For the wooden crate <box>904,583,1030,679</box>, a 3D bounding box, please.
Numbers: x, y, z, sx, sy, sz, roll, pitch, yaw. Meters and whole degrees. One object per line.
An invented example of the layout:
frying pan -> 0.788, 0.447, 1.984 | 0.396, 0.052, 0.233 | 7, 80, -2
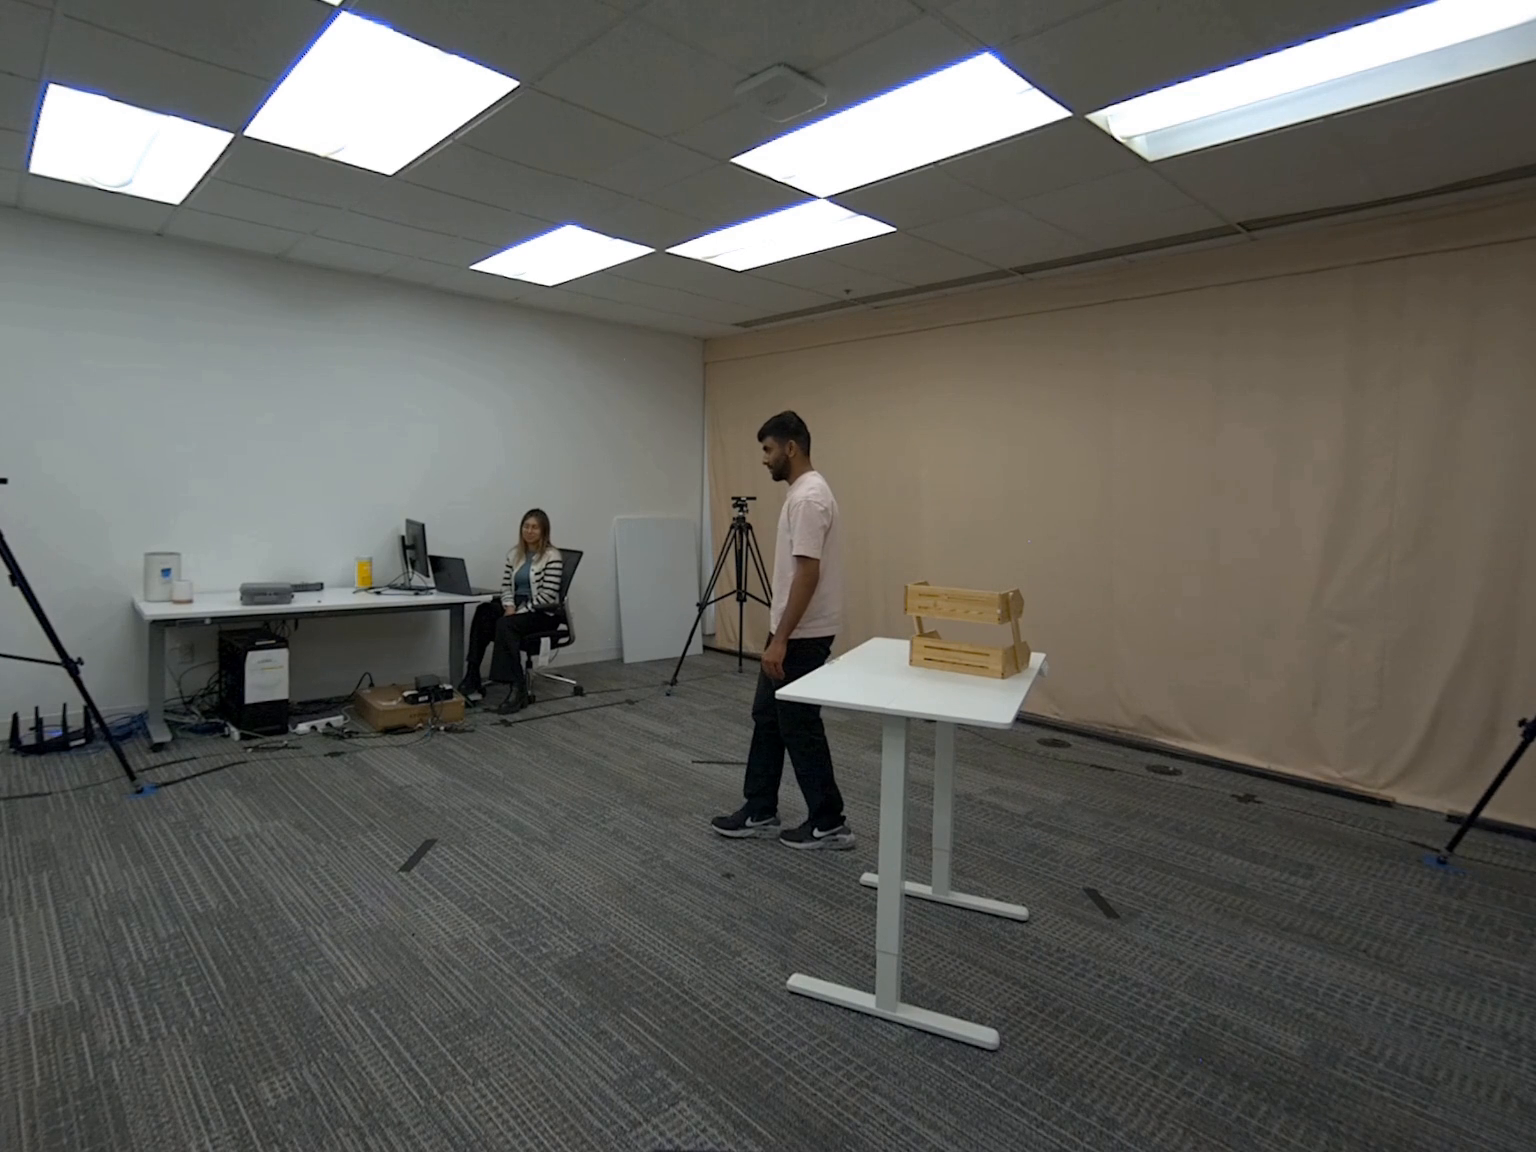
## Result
wooden crate -> 0.619, 0.155, 2.625 | 0.332, 0.272, 0.296 | 4, 6, 35
